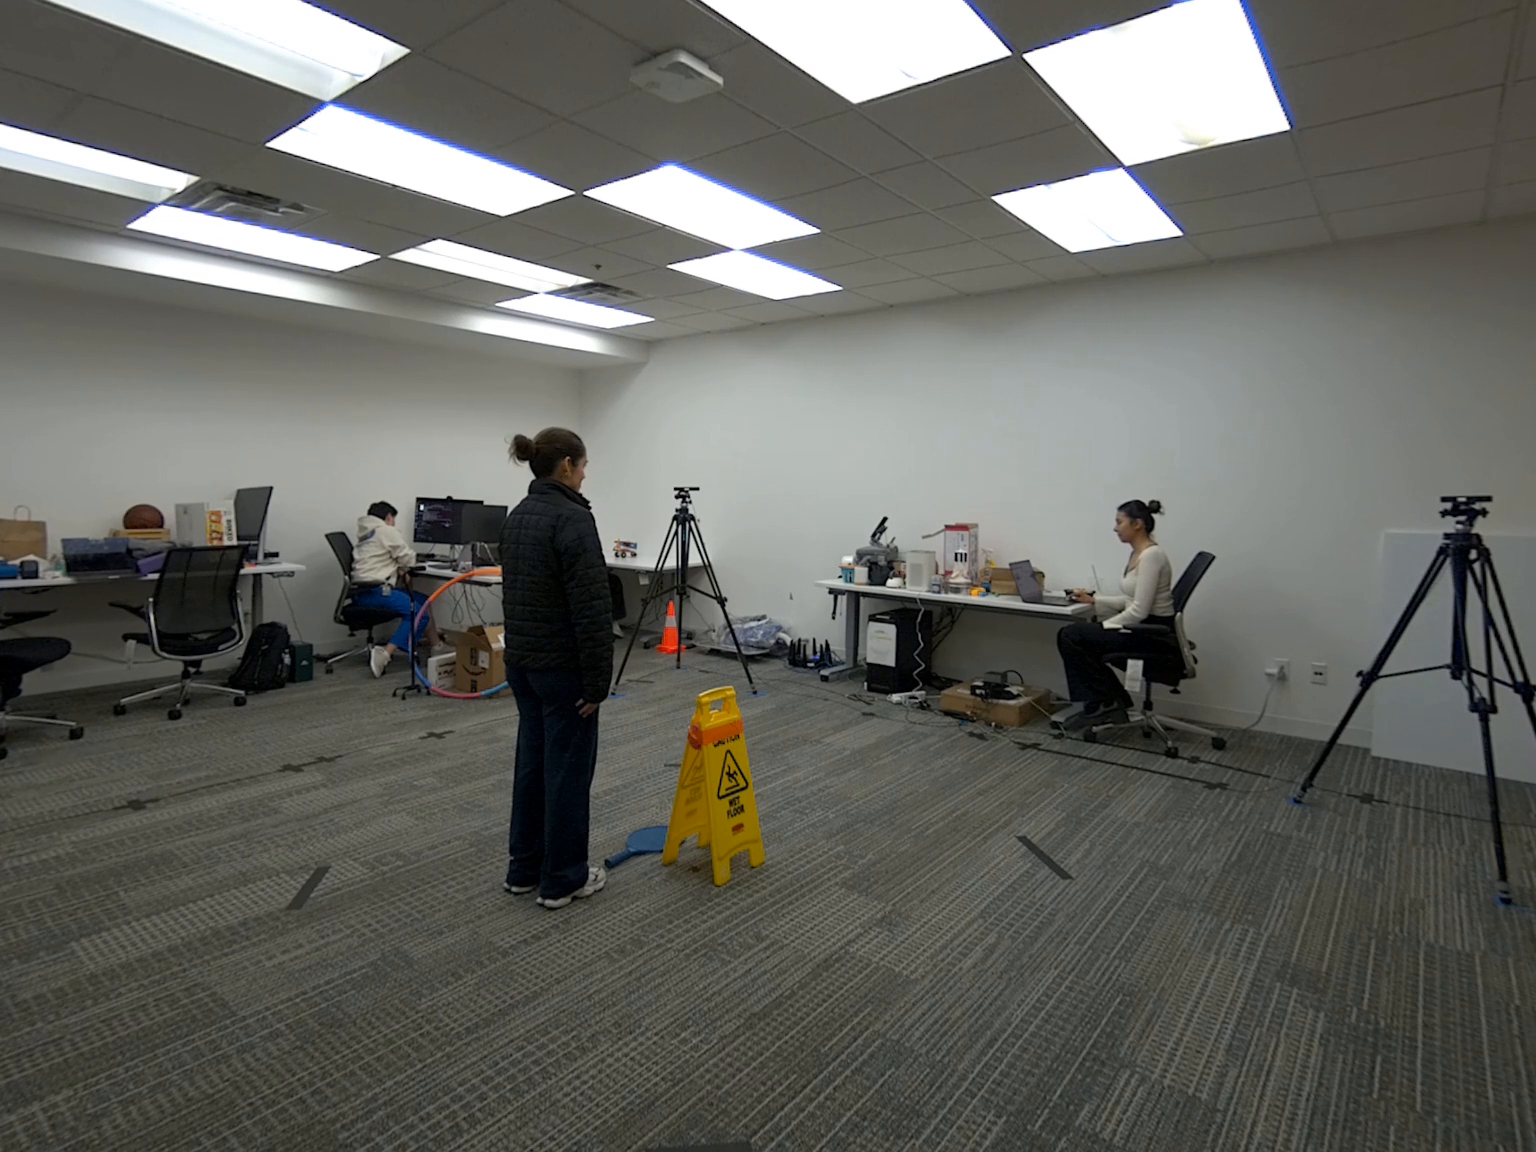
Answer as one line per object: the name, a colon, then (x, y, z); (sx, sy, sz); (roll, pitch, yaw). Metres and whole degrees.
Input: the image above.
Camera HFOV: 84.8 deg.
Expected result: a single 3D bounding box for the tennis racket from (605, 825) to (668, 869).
tennis racket: (-0.462, 1.032, 3.293); (0.220, 0.032, 0.421); (3, 4, 28)
